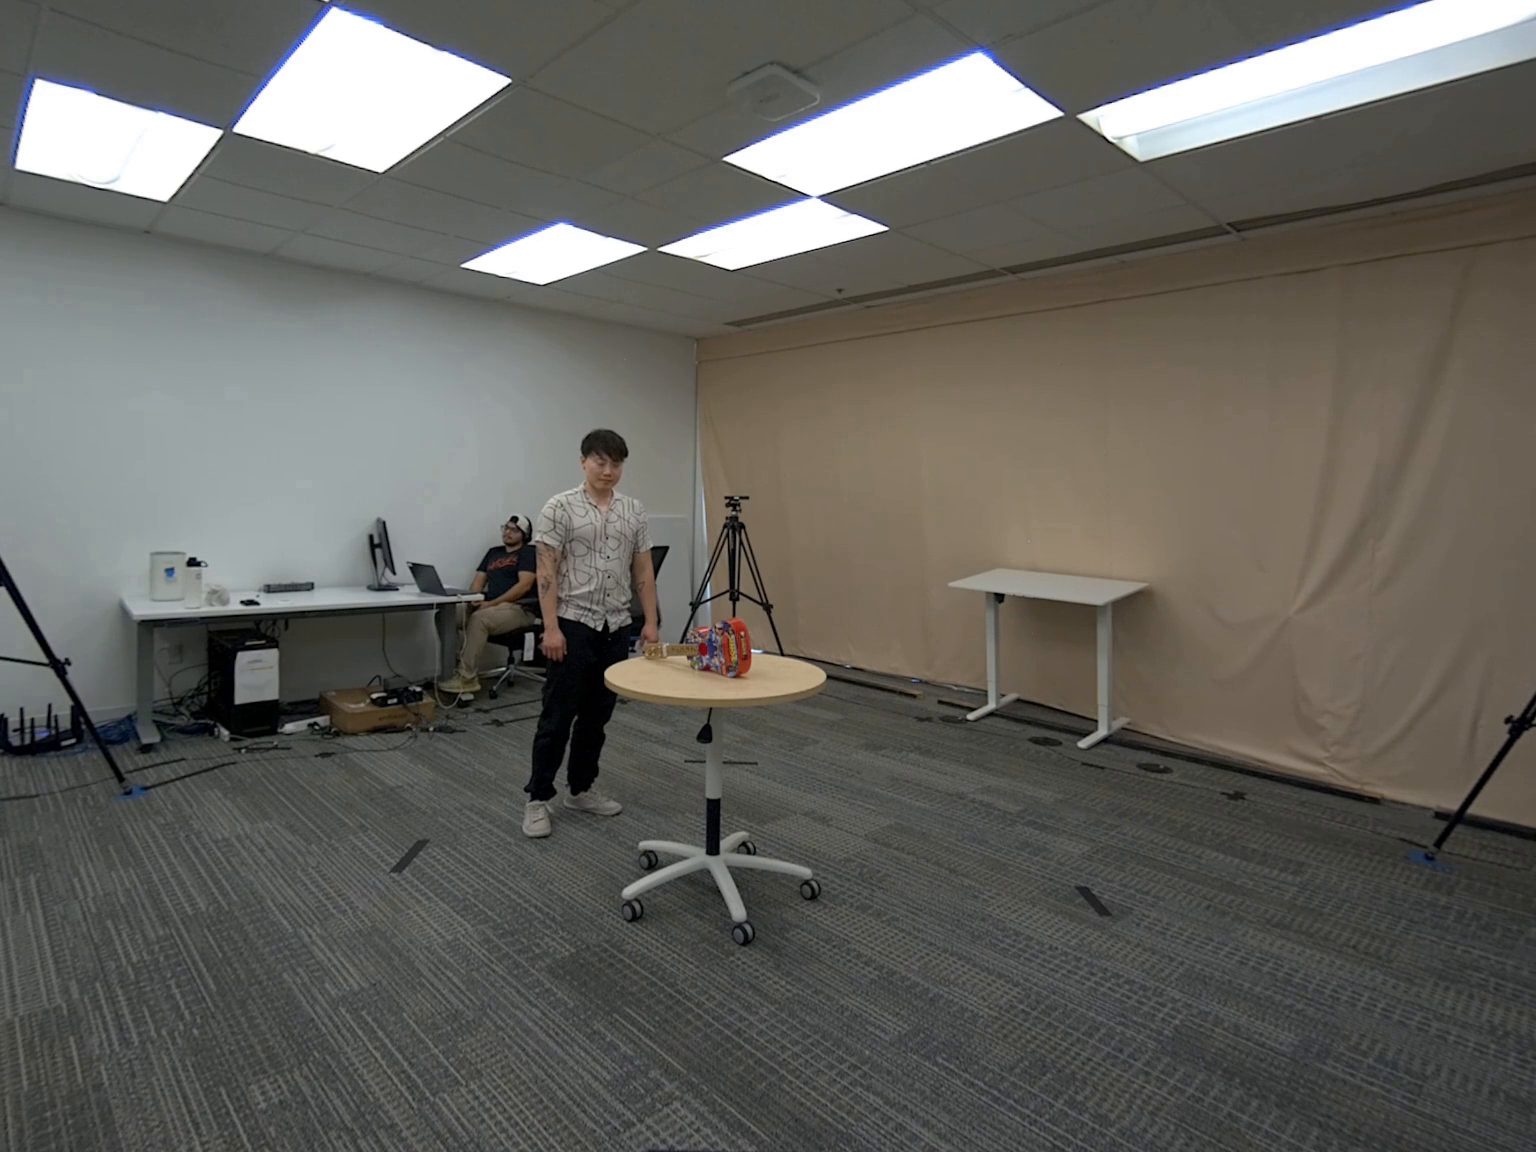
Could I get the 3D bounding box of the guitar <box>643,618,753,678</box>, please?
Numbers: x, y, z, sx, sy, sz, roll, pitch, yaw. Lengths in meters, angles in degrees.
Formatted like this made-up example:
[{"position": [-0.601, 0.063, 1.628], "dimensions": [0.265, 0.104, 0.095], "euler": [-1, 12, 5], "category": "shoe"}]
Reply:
[{"position": [-0.270, 0.235, 2.979], "dimensions": [0.510, 0.192, 0.069], "euler": [4, 6, 43], "category": "guitar"}]
